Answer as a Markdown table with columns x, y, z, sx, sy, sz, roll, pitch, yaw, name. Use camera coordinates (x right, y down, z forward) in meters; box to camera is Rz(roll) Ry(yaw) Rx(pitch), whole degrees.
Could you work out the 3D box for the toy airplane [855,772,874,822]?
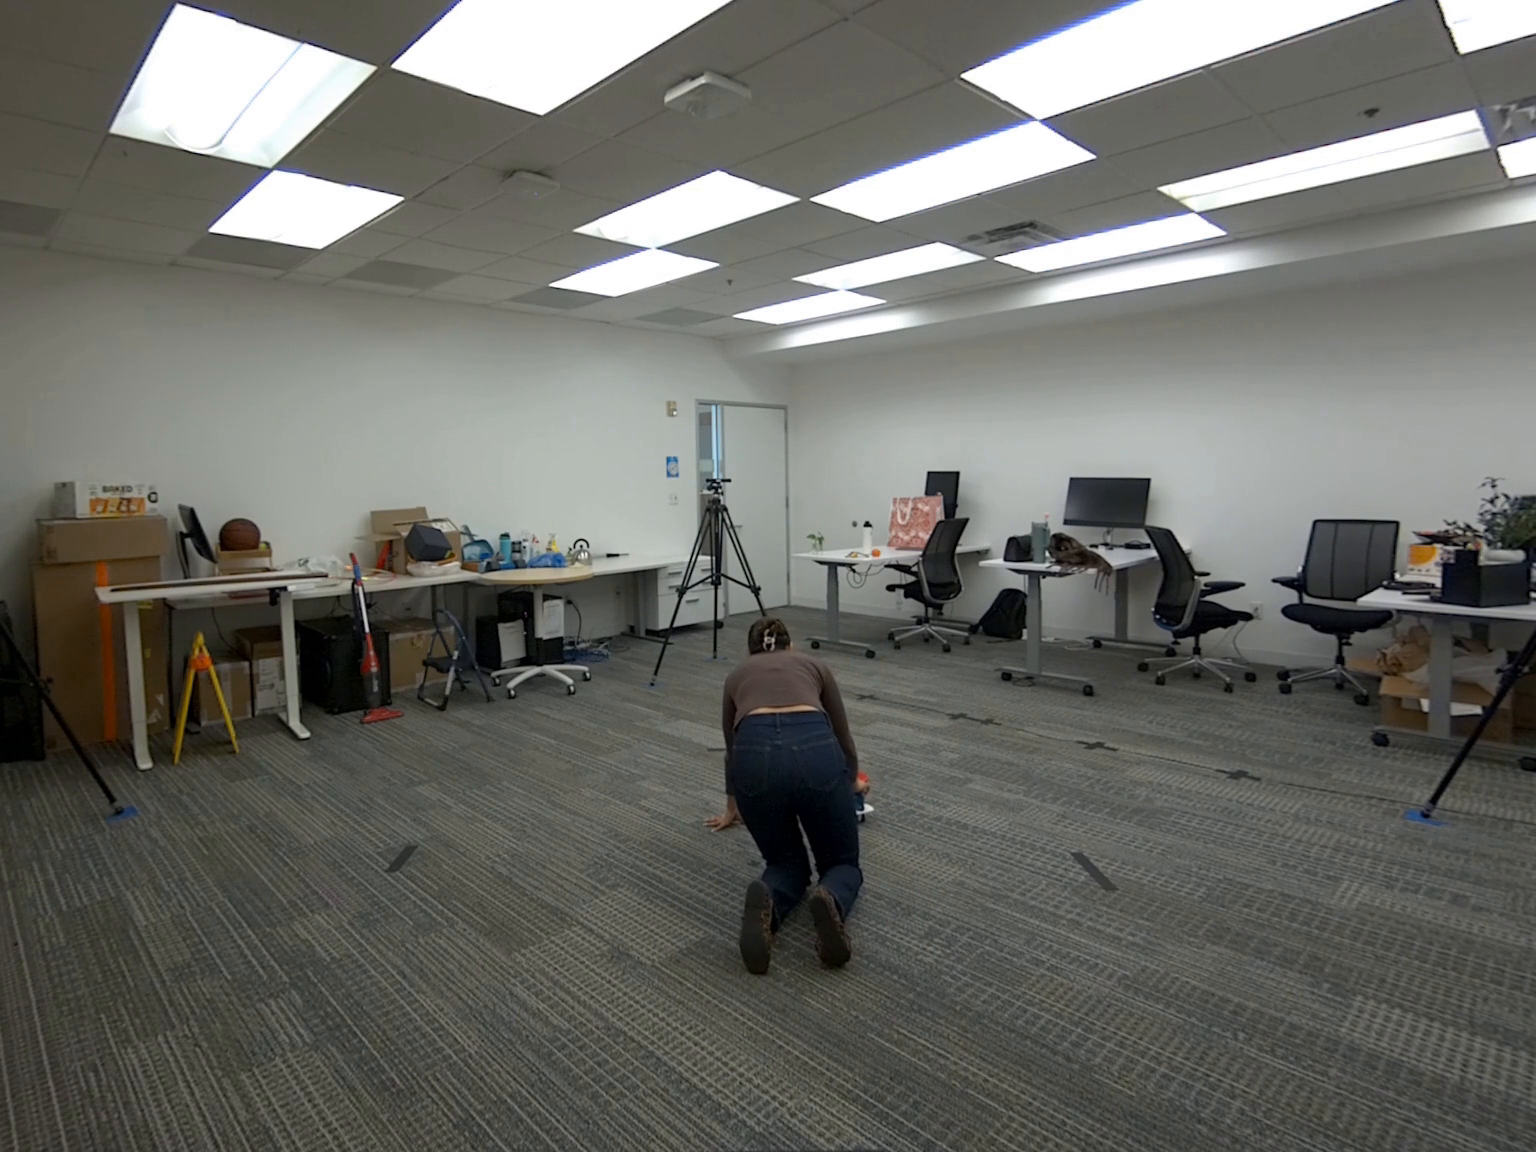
| x | y | z | sx | sy | sz | roll | pitch | yaw | name |
| --- | --- | --- | --- | --- | --- | --- | --- | --- | --- |
| 0.337 | 0.915 | 3.548 | 0.266 | 0.156 | 0.245 | -1 | 4 | 32 | toy airplane |
